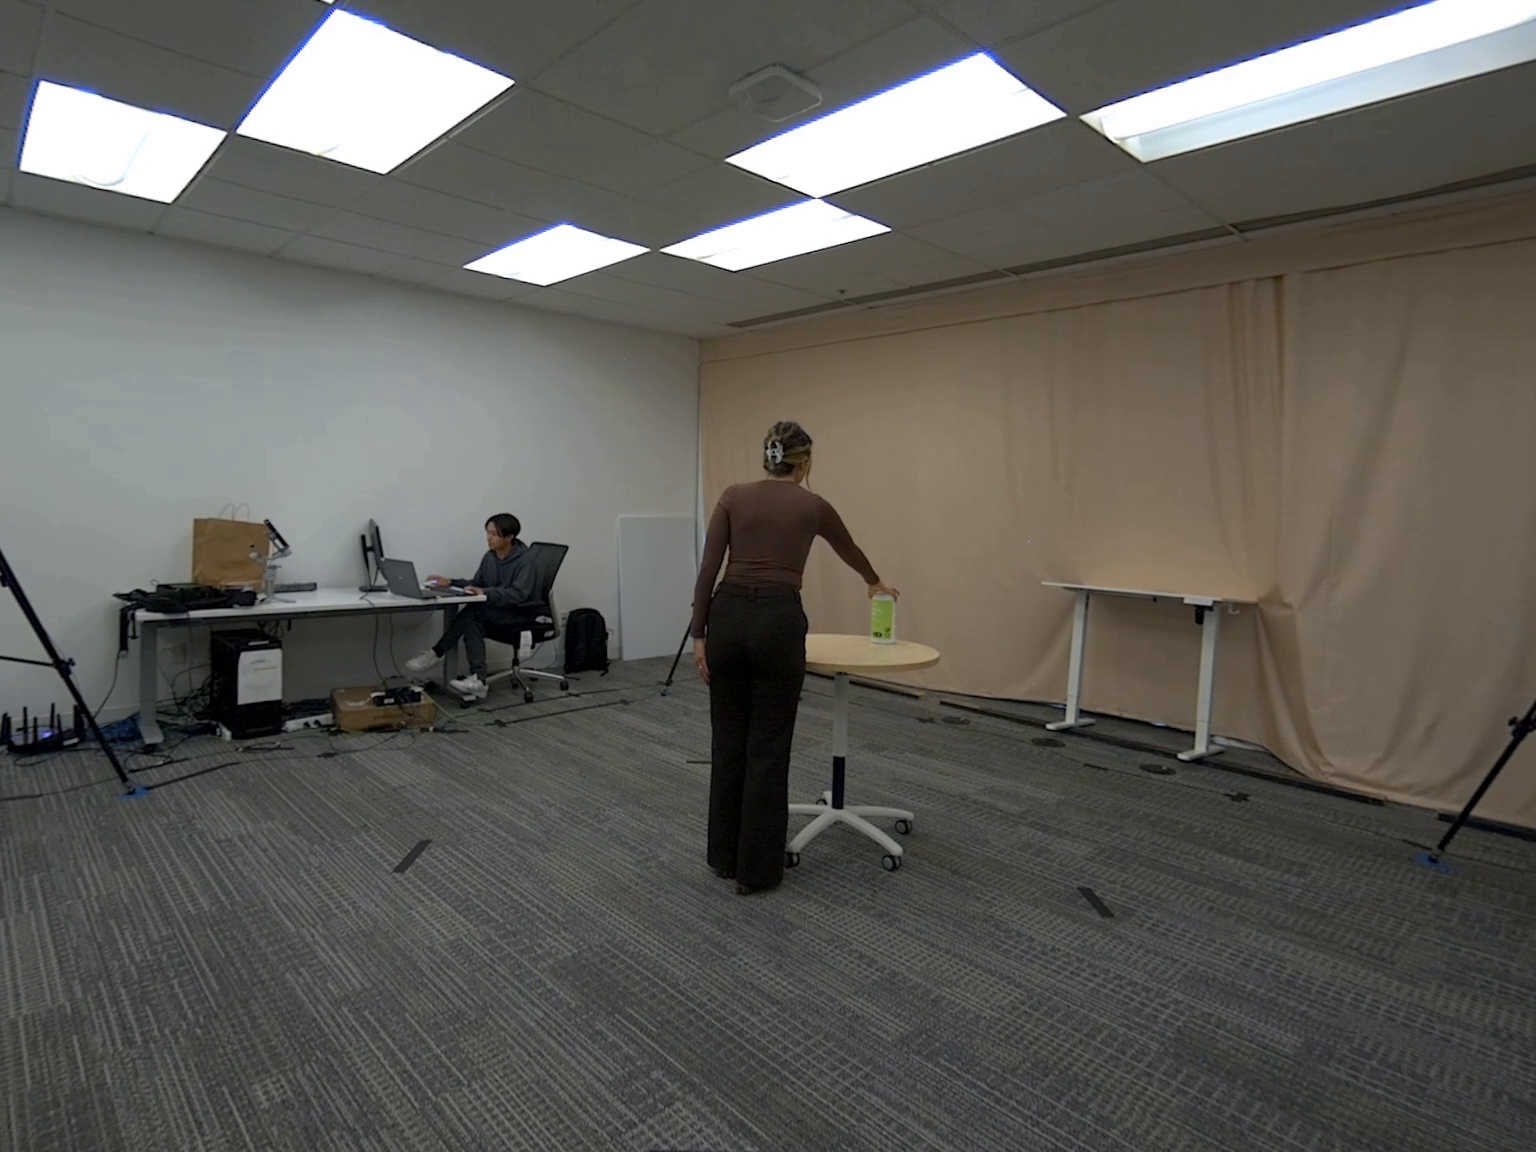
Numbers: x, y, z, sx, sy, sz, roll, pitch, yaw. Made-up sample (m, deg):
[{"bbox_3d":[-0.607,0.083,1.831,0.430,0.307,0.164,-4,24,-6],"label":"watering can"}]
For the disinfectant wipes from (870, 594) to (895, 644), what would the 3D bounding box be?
[{"bbox_3d":[0.487,0.178,3.599,0.118,0.217,0.118,0,4,-1],"label":"disinfectant wipes"}]
